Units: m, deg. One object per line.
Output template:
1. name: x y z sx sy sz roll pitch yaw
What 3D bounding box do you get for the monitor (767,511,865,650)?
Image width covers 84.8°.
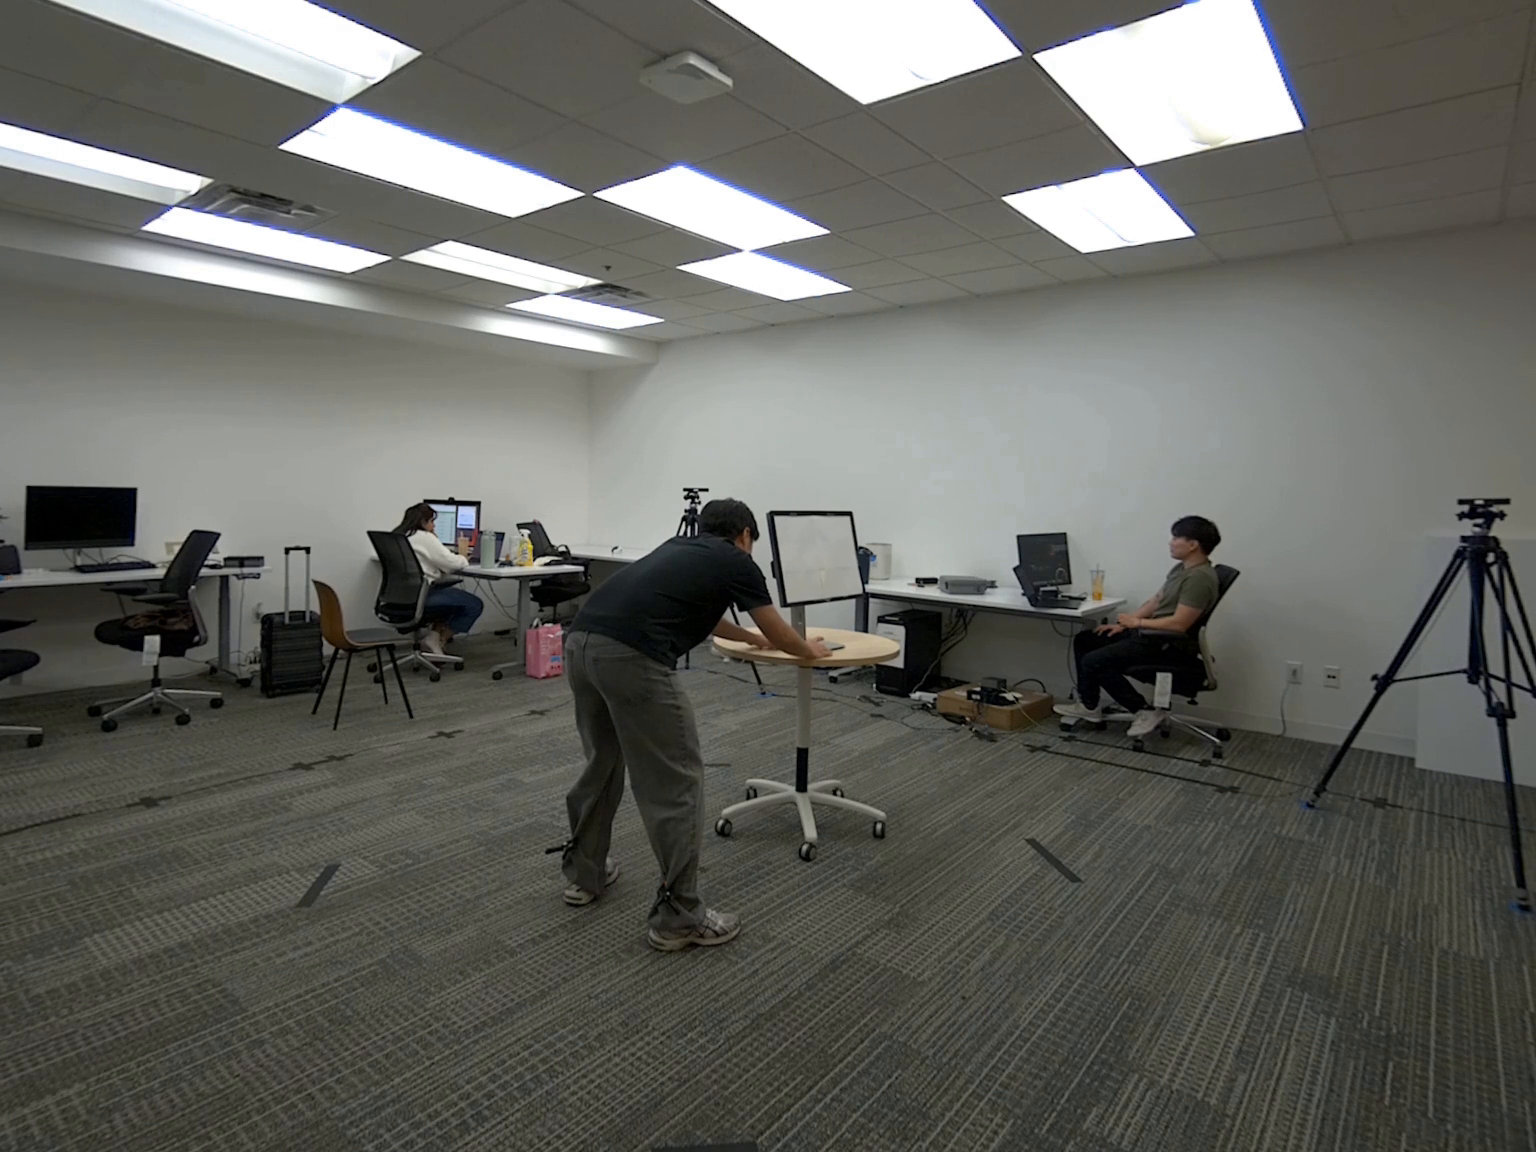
1. monitor: 0.141 0.012 3.391 0.216 0.555 0.549 -5 -1 39
